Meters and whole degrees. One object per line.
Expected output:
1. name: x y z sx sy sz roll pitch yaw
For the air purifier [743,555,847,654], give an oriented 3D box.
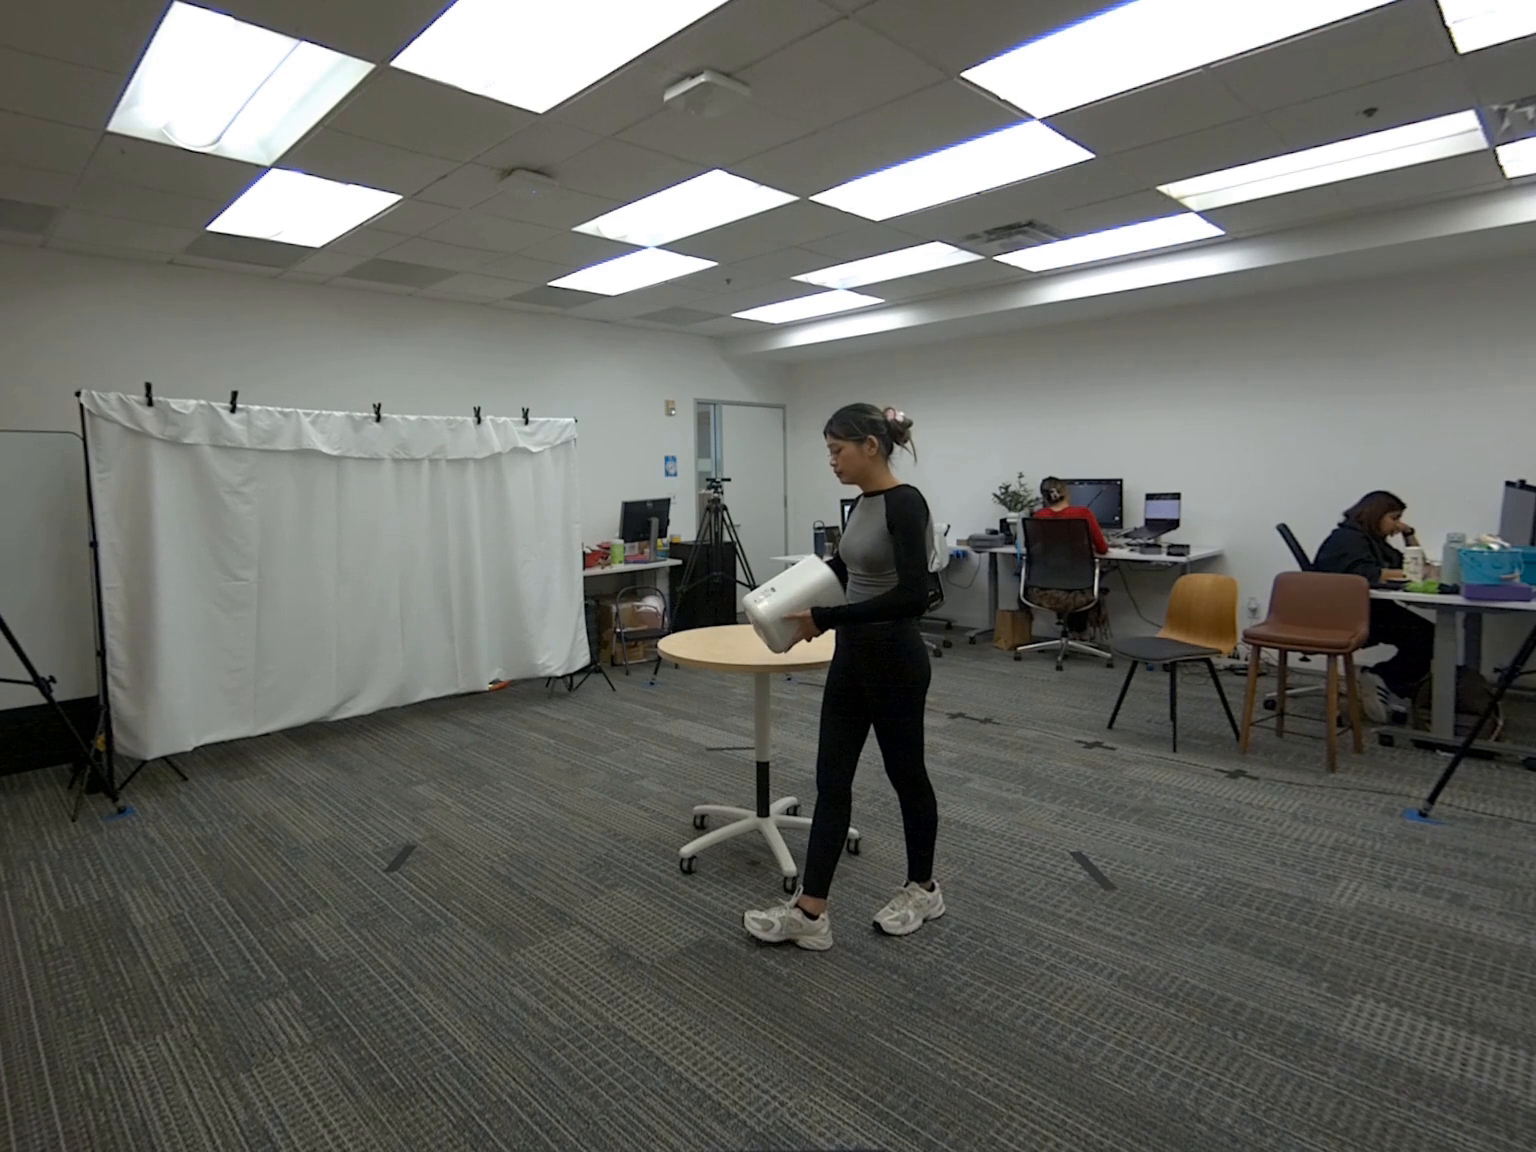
1. air purifier: 0.080 0.082 2.505 0.265 0.166 0.177 -31 33 -5
